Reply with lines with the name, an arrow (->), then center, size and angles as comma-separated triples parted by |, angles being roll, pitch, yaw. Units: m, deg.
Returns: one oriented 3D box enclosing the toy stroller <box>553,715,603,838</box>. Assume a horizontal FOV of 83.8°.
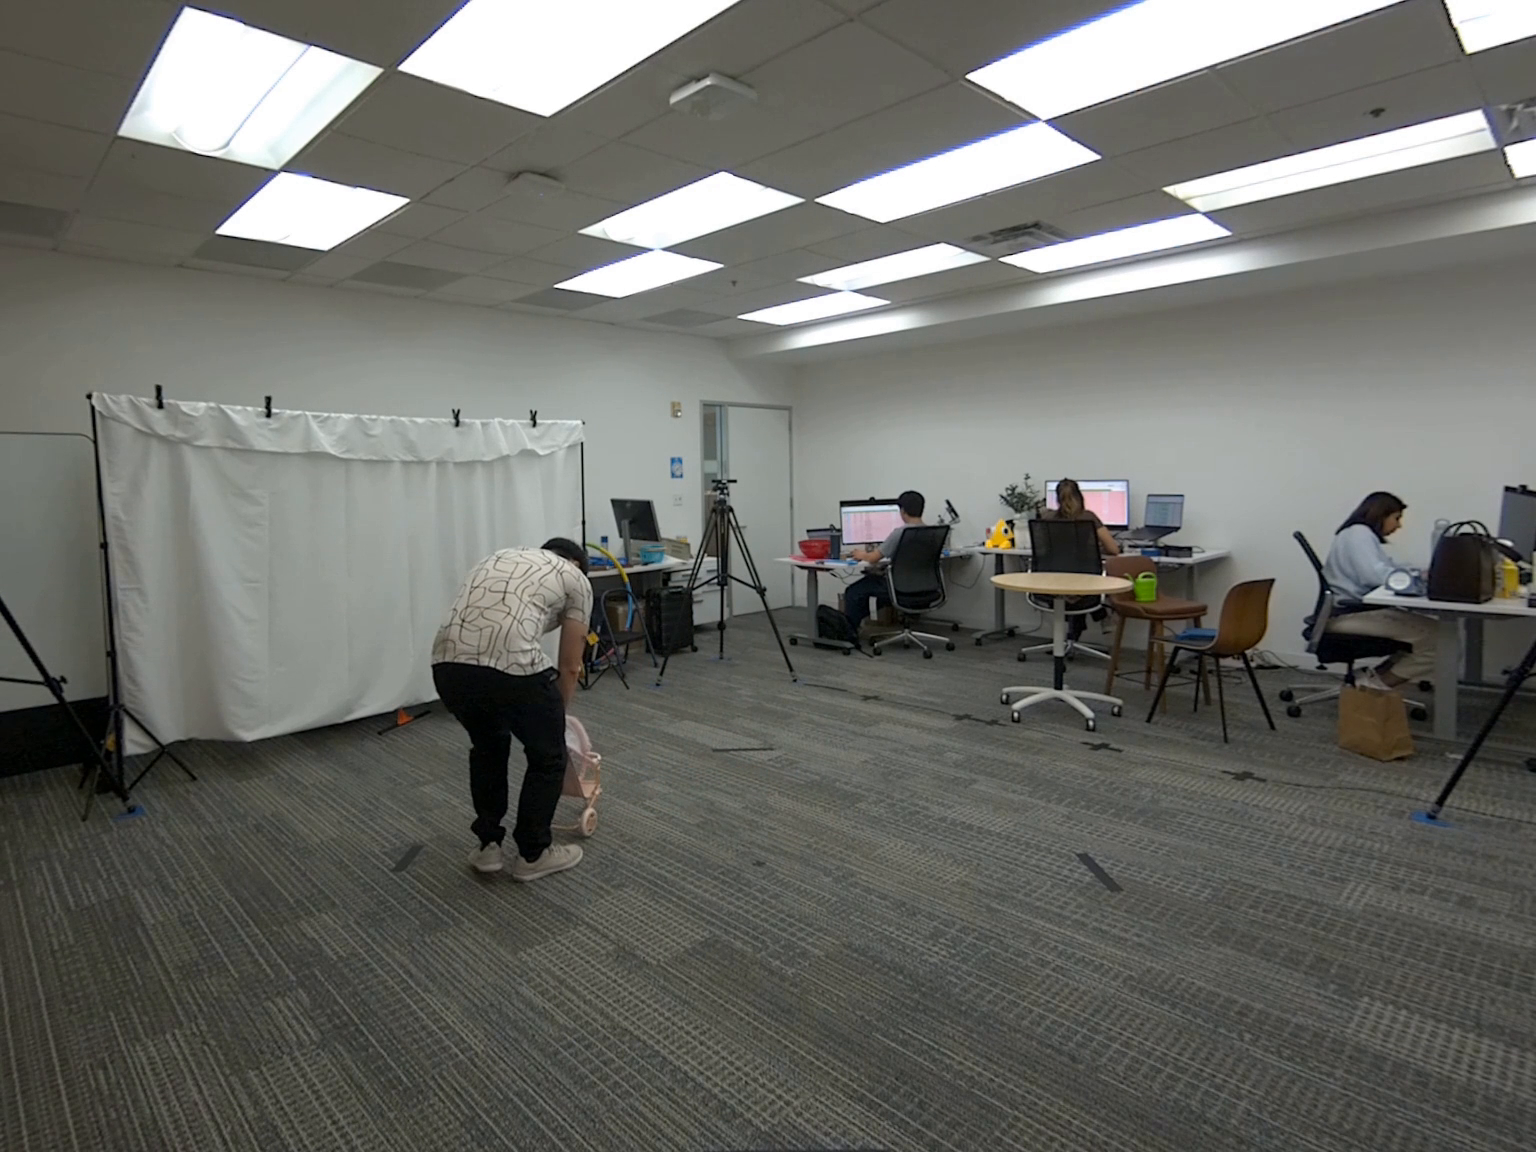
toy stroller -> -0.811, 0.798, 3.472 | 0.287, 0.526, 0.340 | 1, 19, 21
